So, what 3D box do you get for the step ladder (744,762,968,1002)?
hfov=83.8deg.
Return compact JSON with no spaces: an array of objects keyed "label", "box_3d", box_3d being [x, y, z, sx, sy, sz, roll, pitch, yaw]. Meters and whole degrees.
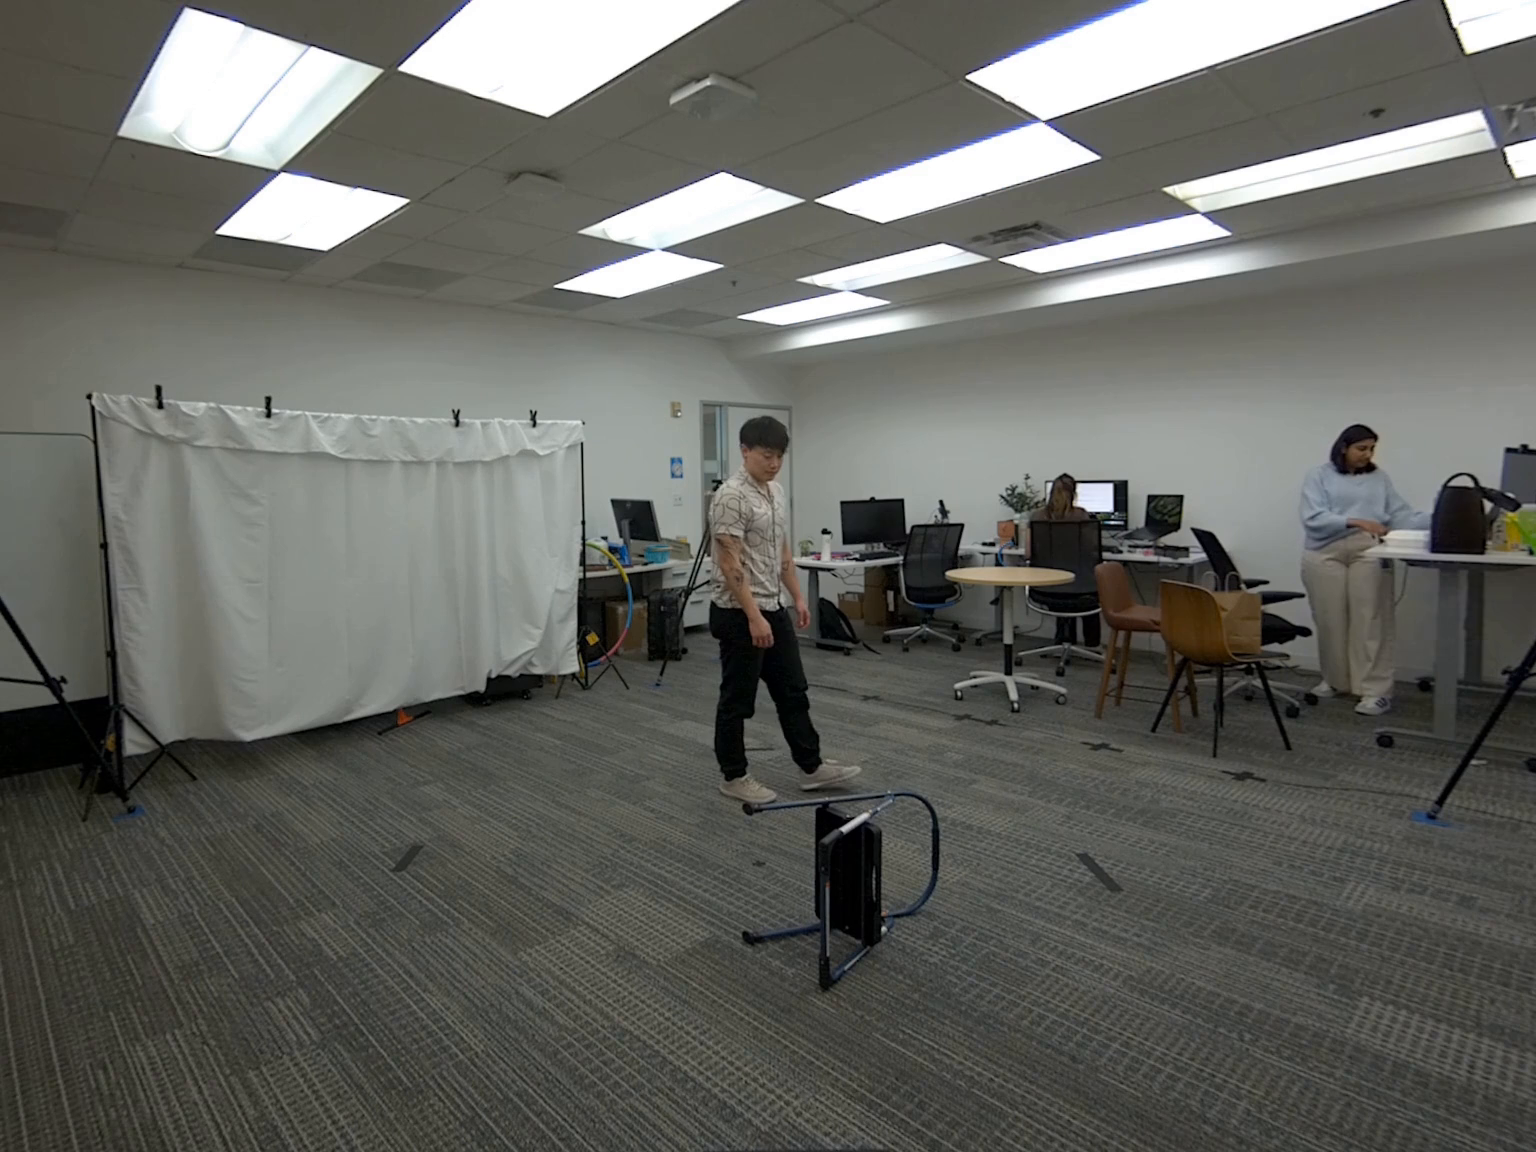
[{"label":"step ladder","box_3d":[0.273,0.894,2.625,0.590,0.428,0.360,-5,8,-39]}]
